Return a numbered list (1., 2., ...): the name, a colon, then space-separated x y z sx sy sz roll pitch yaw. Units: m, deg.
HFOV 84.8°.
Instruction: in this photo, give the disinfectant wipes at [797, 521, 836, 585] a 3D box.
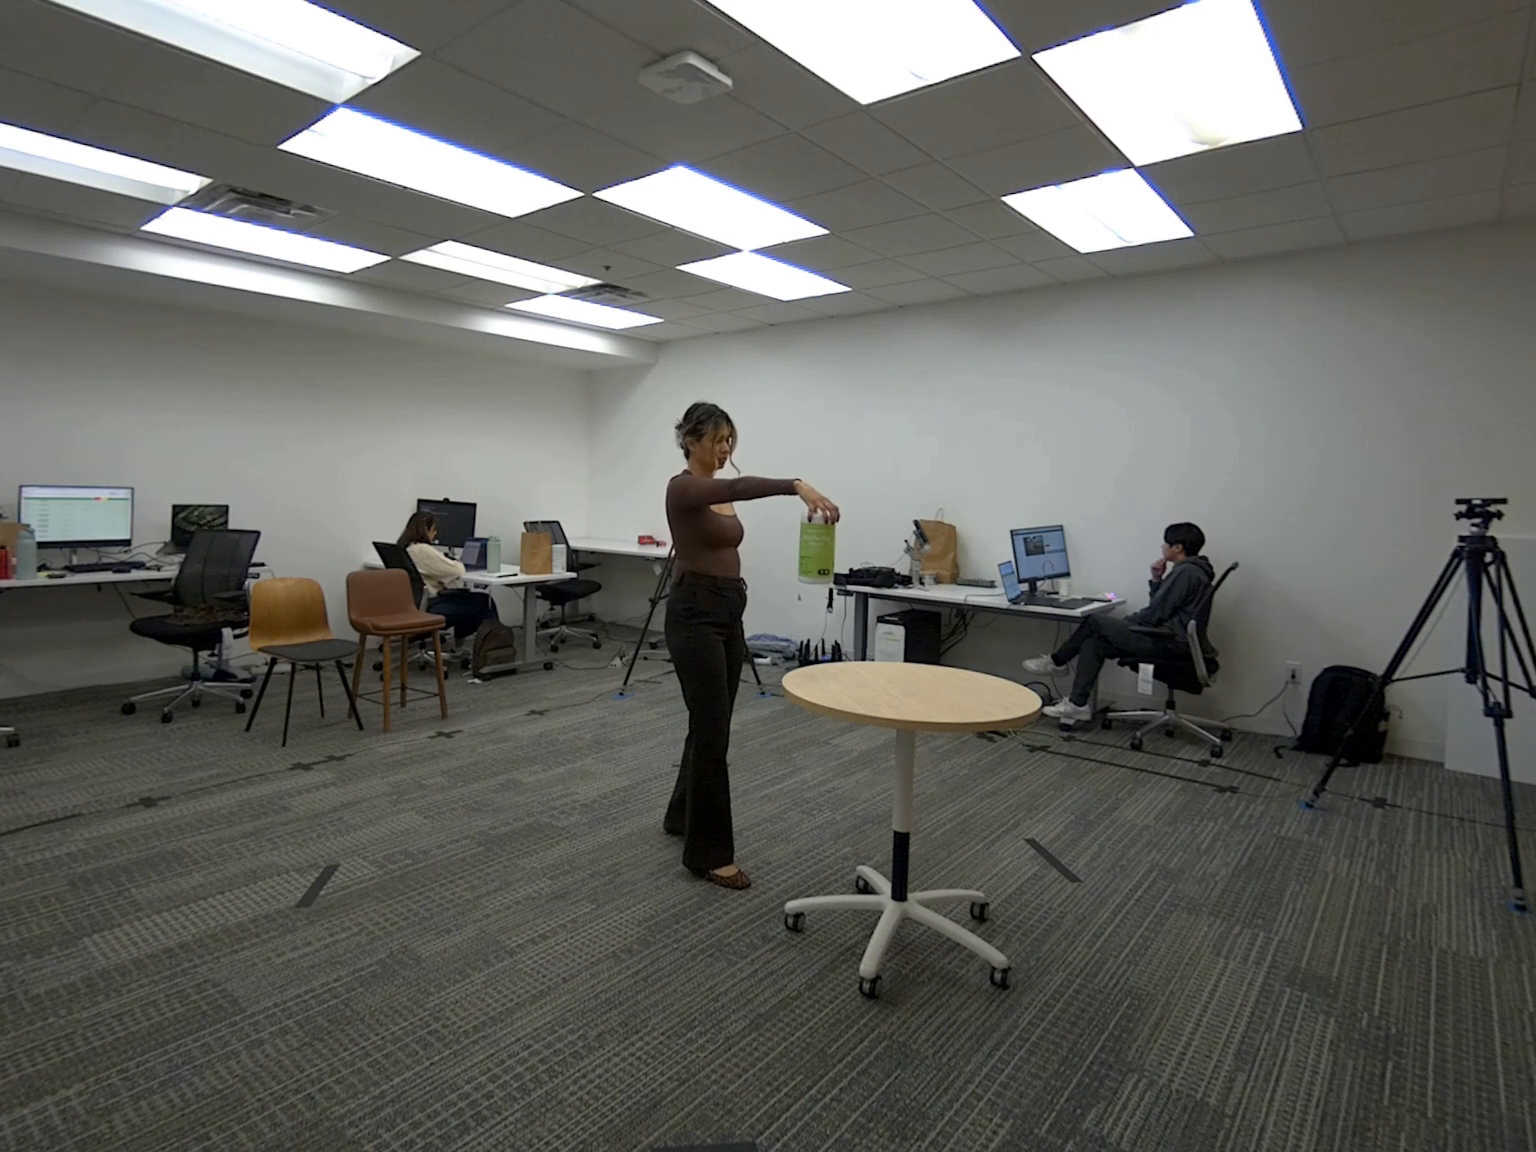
1. disinfectant wipes: 0.142 -0.089 2.637 0.118 0.216 0.118 0 5 -2
